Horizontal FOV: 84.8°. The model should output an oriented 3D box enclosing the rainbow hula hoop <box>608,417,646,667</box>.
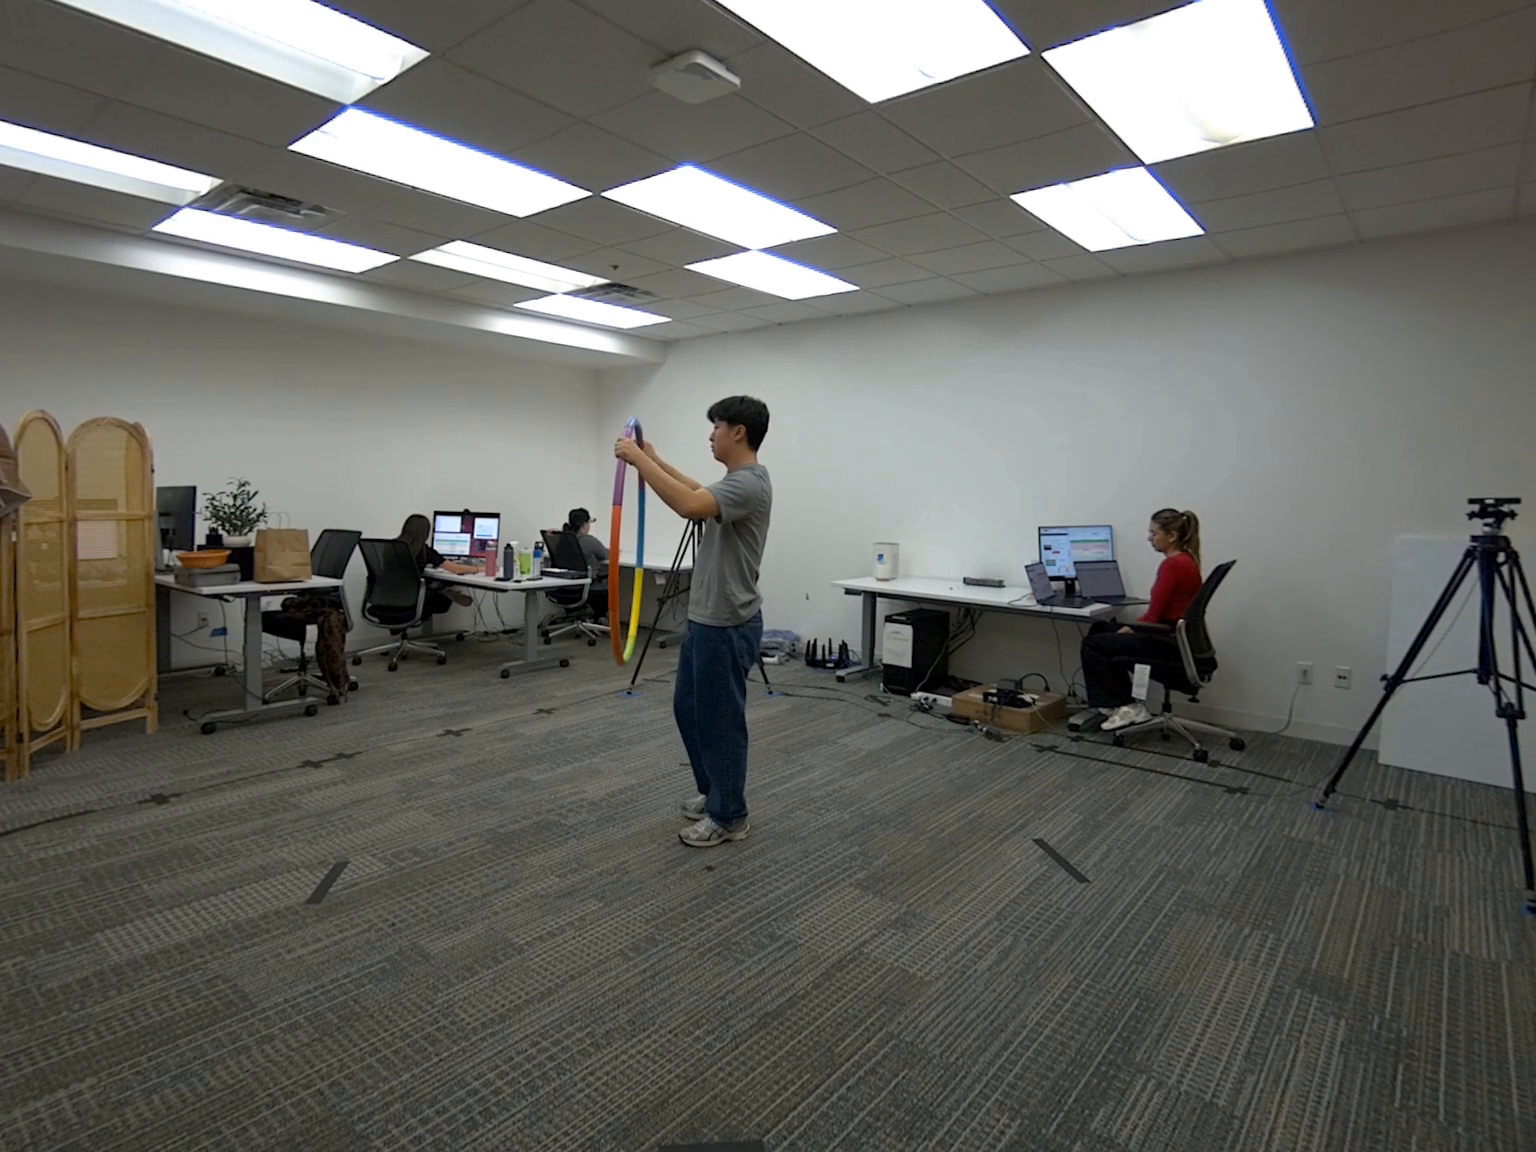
[{"bbox_3d":[-0.566,-0.138,3.410,0.035,0.976,0.983,2,4,-3],"label":"rainbow hula hoop"}]
